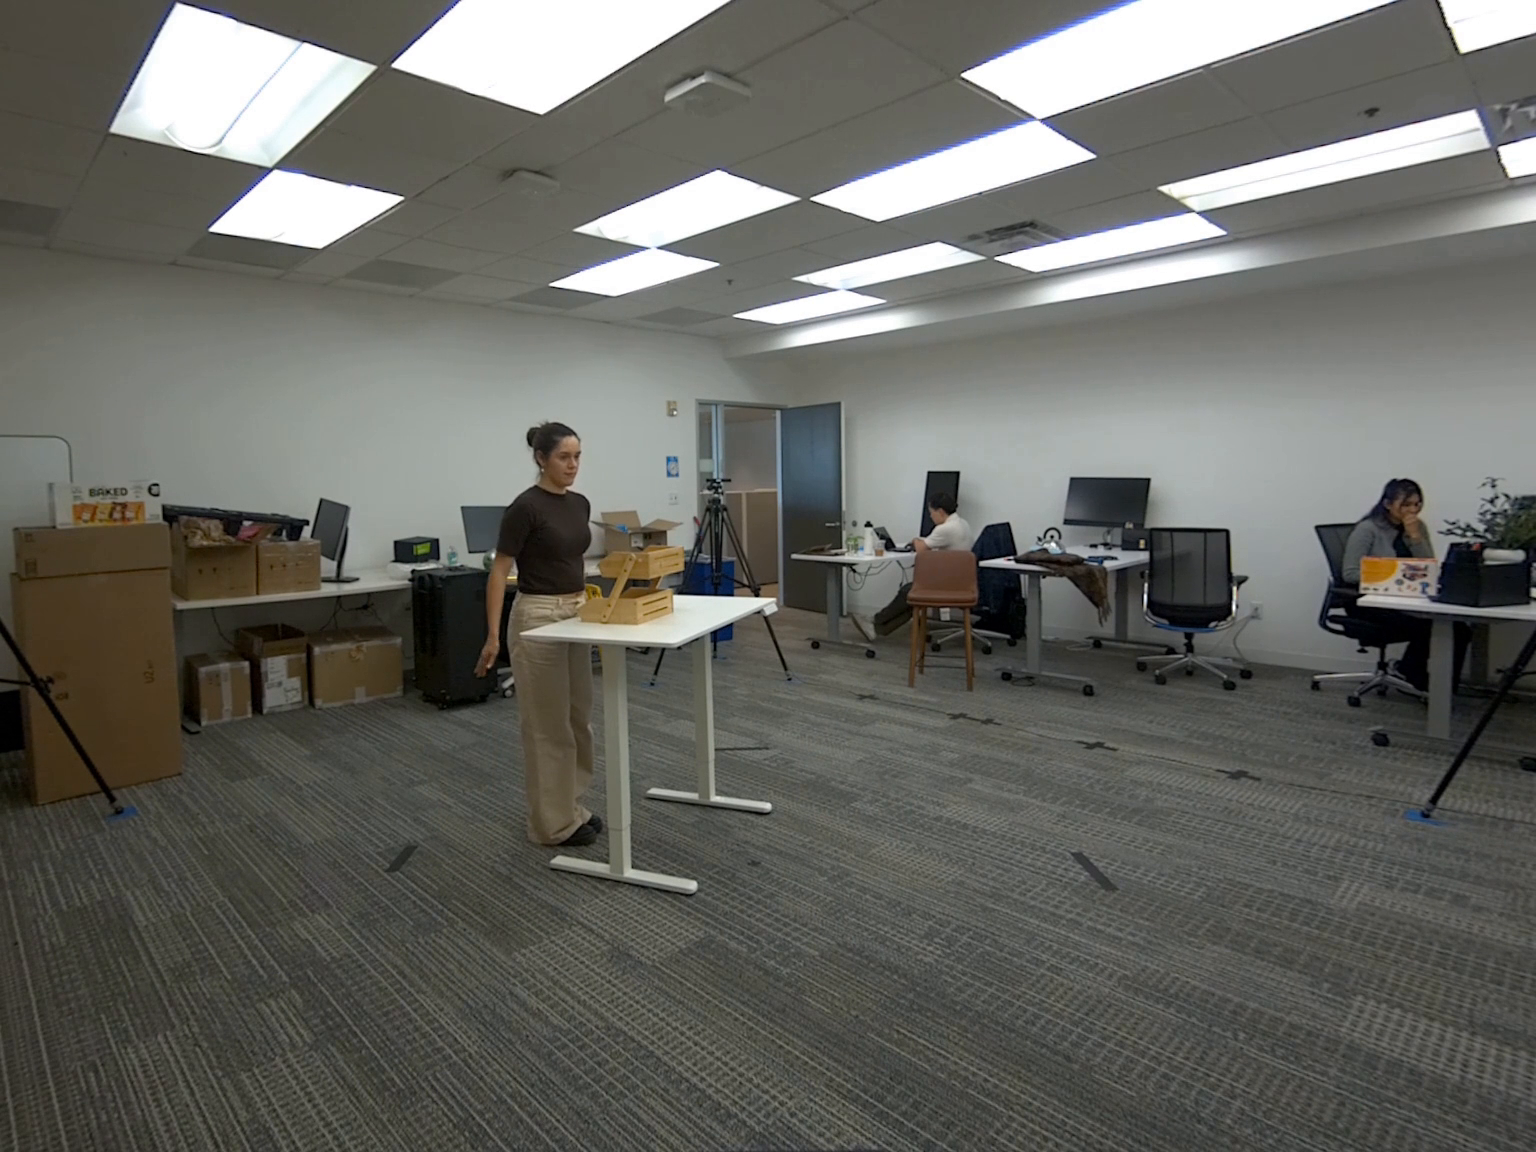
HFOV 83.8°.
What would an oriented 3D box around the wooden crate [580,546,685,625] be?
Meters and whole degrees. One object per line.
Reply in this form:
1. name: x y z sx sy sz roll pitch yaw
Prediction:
1. wooden crate: -0.519 0.026 3.226 0.308 0.272 0.319 1 6 20
